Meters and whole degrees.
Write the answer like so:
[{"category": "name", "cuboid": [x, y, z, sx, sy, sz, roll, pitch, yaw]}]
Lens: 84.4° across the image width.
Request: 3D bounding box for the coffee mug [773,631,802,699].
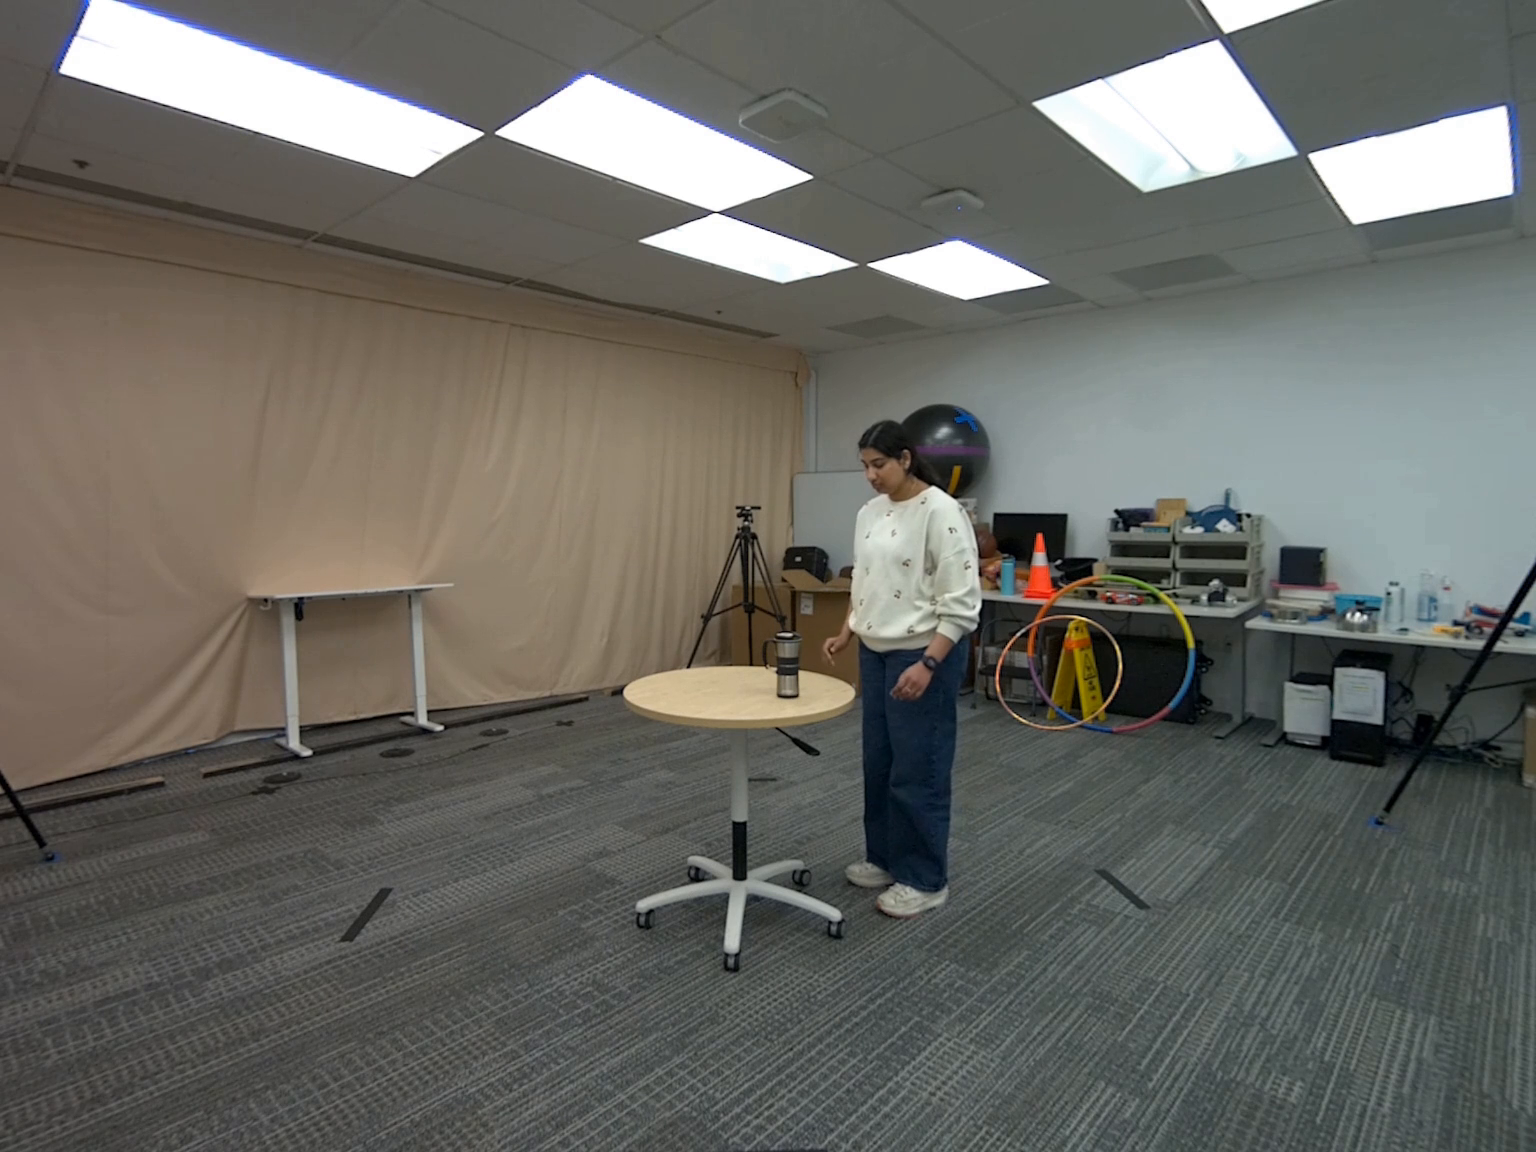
[{"category": "coffee mug", "cuboid": [0.054, 0.289, 2.703, 0.126, 0.202, 0.085, 6, 9, 34]}]
